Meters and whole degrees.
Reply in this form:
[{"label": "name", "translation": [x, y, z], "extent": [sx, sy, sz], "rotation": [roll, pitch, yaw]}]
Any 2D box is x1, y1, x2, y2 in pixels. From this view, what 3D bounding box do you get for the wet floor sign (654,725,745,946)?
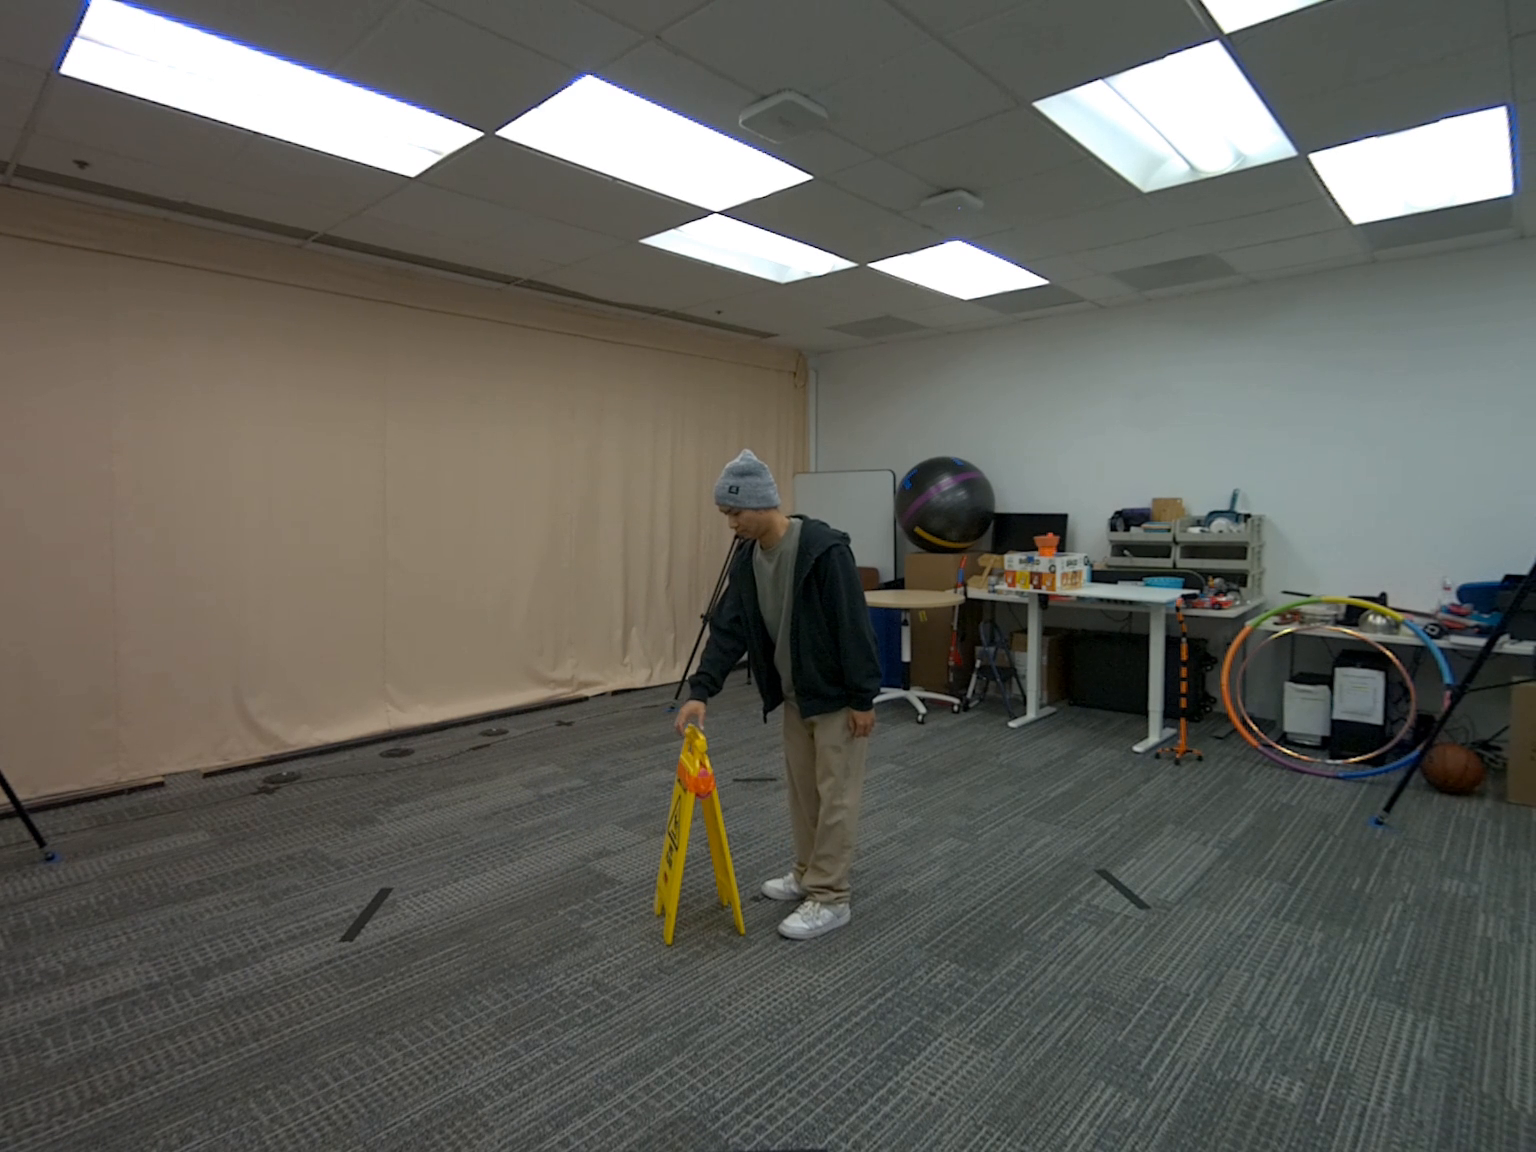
[{"label": "wet floor sign", "translation": [-0.240, 0.834, 2.811], "extent": [0.285, 0.645, 0.287], "rotation": [-2, 2, -16]}]
